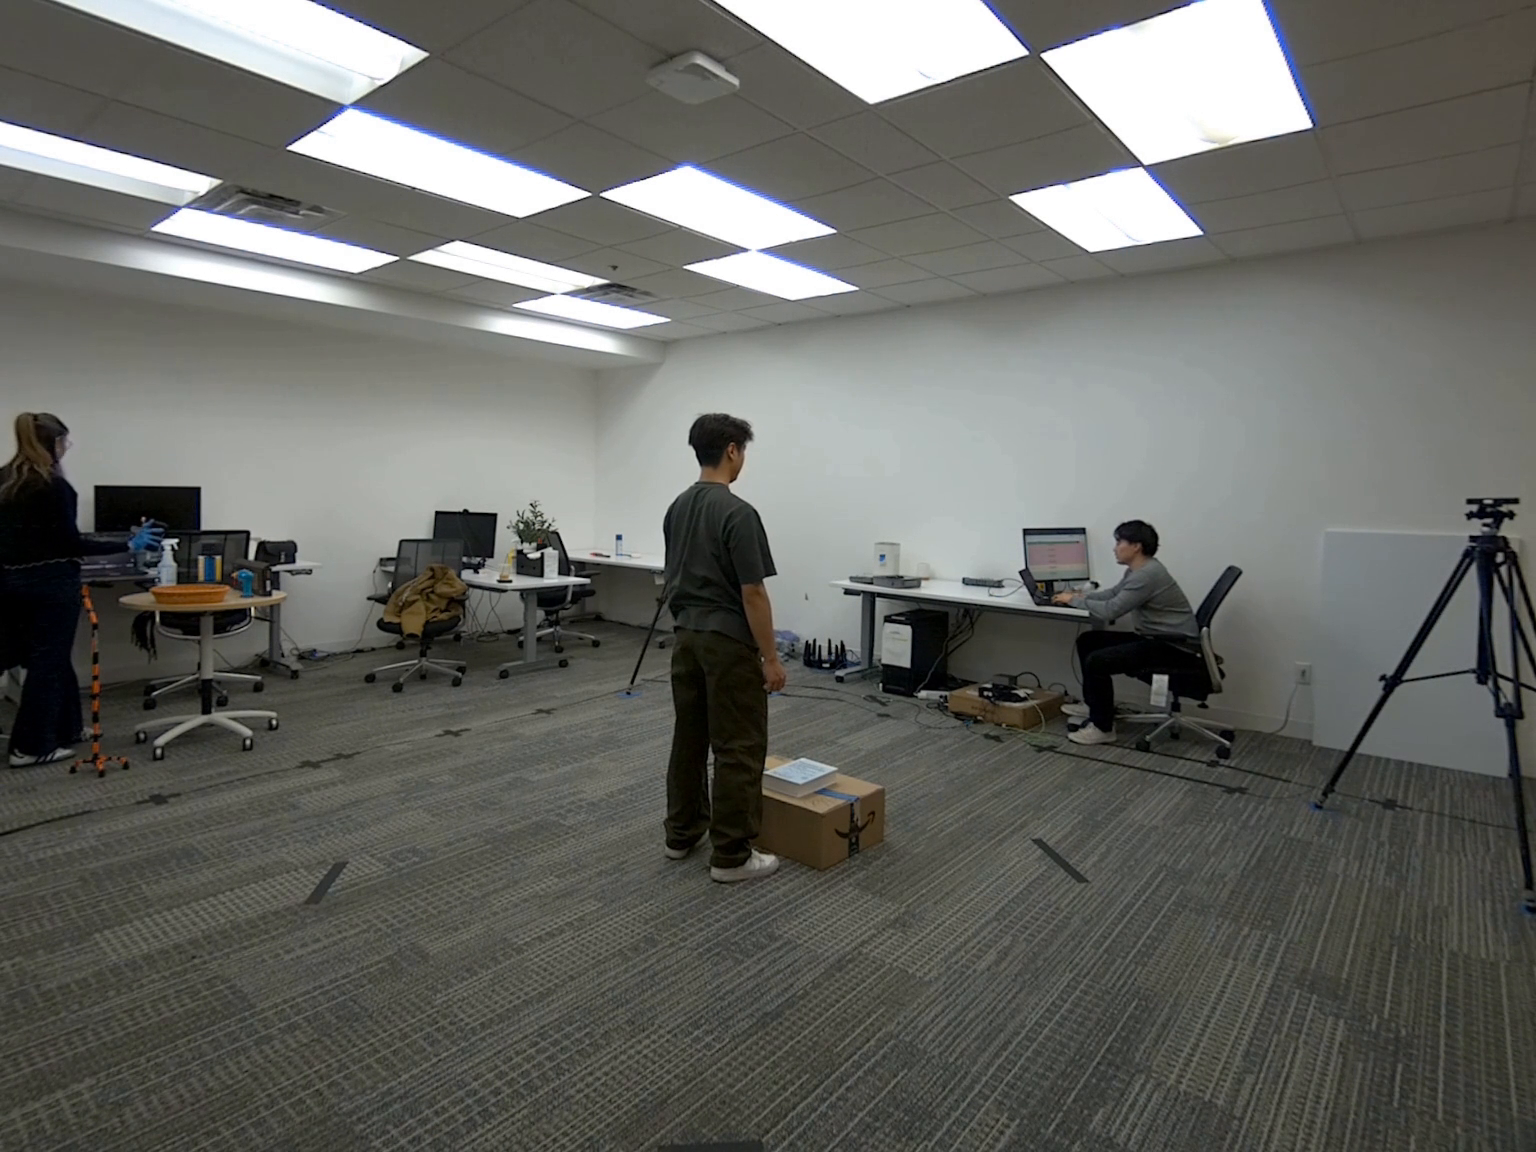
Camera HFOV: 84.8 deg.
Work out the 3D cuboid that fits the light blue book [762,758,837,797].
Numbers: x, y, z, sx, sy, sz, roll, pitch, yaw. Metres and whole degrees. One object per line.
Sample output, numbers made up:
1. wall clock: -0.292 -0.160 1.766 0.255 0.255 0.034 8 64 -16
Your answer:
1. light blue book: 0.121 0.804 3.419 0.198 0.059 0.253 7 8 40
